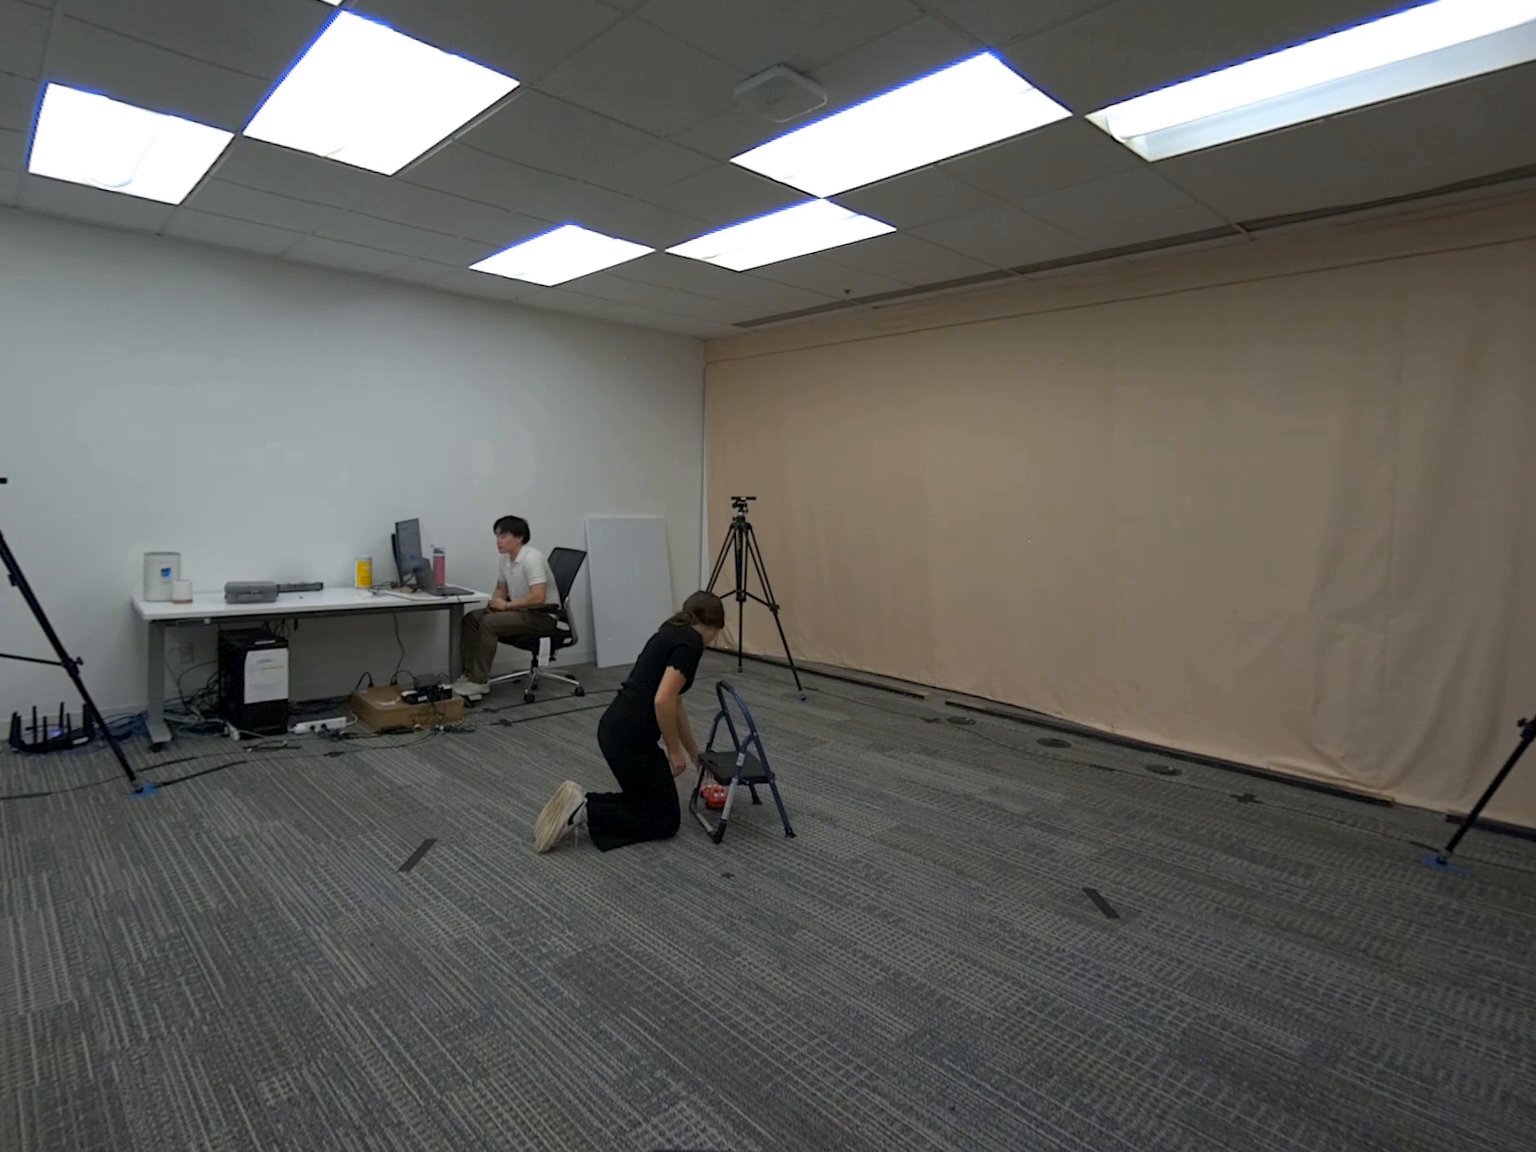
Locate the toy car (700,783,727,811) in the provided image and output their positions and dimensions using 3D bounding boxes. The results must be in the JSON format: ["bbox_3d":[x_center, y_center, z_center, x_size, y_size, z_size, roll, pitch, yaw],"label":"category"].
[{"bbox_3d":[-0.249,1.007,3.849,0.129,0.083,0.256,0,-5,-15],"label":"toy car"}]
